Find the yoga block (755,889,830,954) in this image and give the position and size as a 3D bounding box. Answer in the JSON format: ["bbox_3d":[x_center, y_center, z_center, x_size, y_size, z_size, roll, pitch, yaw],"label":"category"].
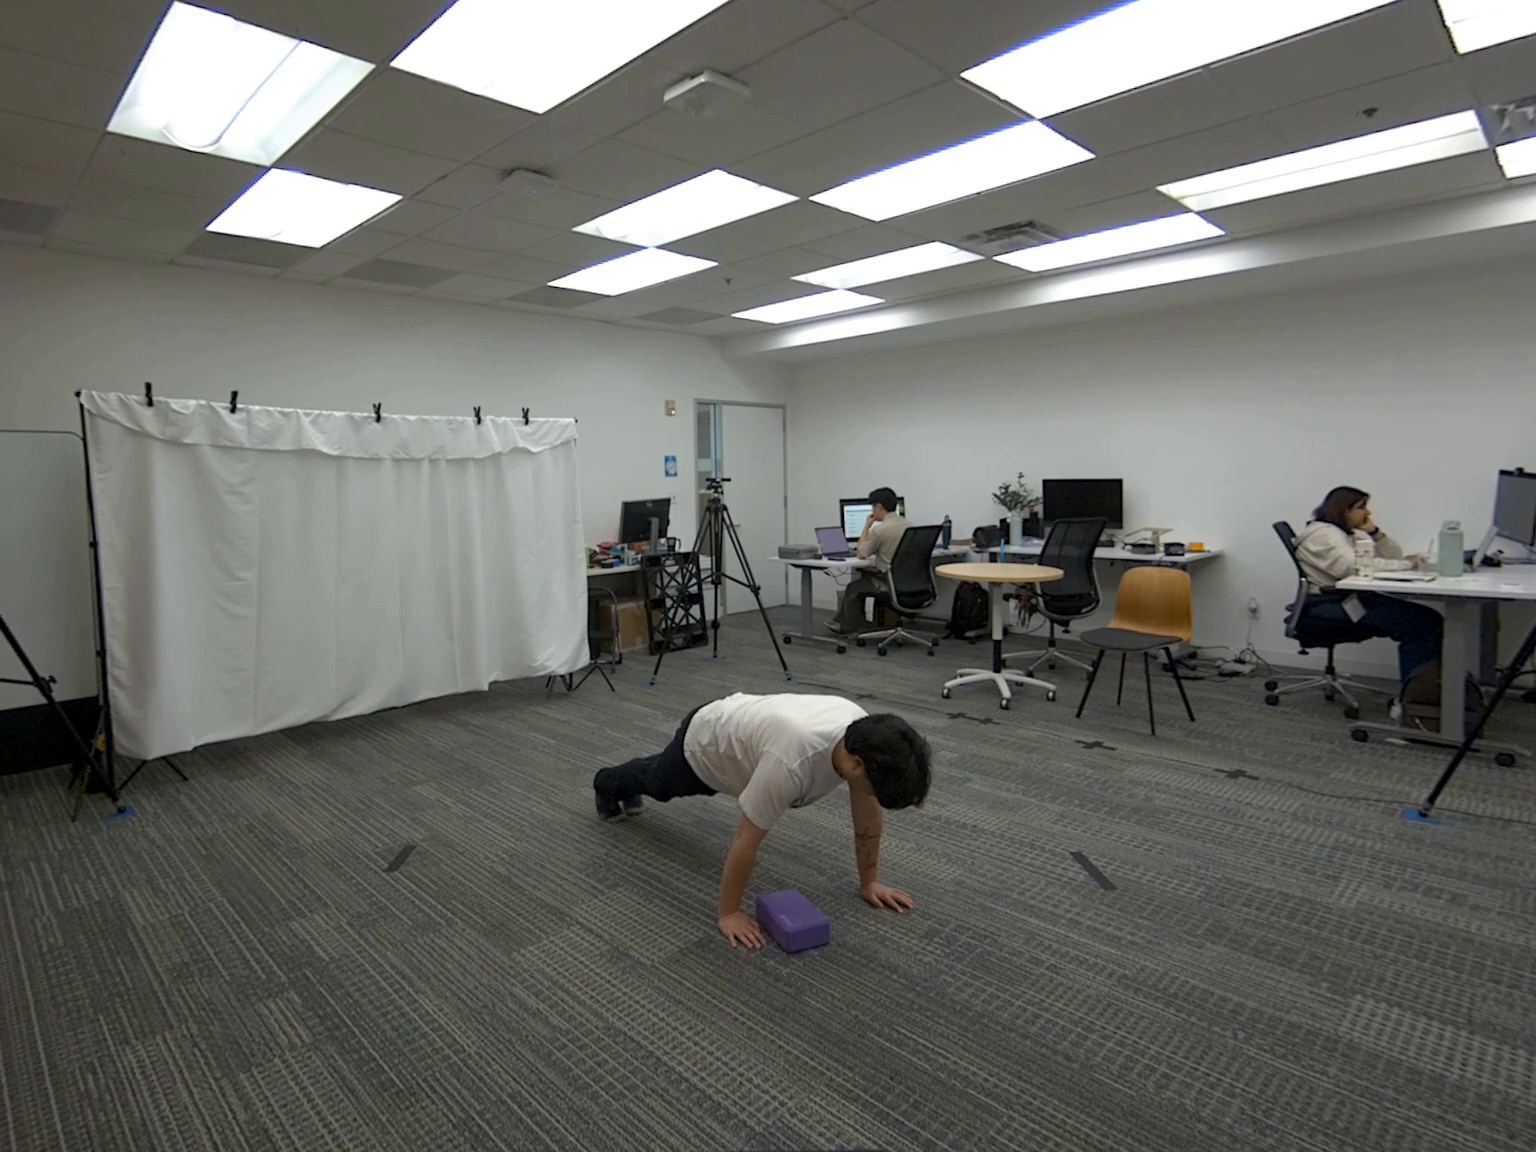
[{"bbox_3d":[0.078,1.053,2.631,0.146,0.076,0.235,-4,8,-24],"label":"yoga block"}]
